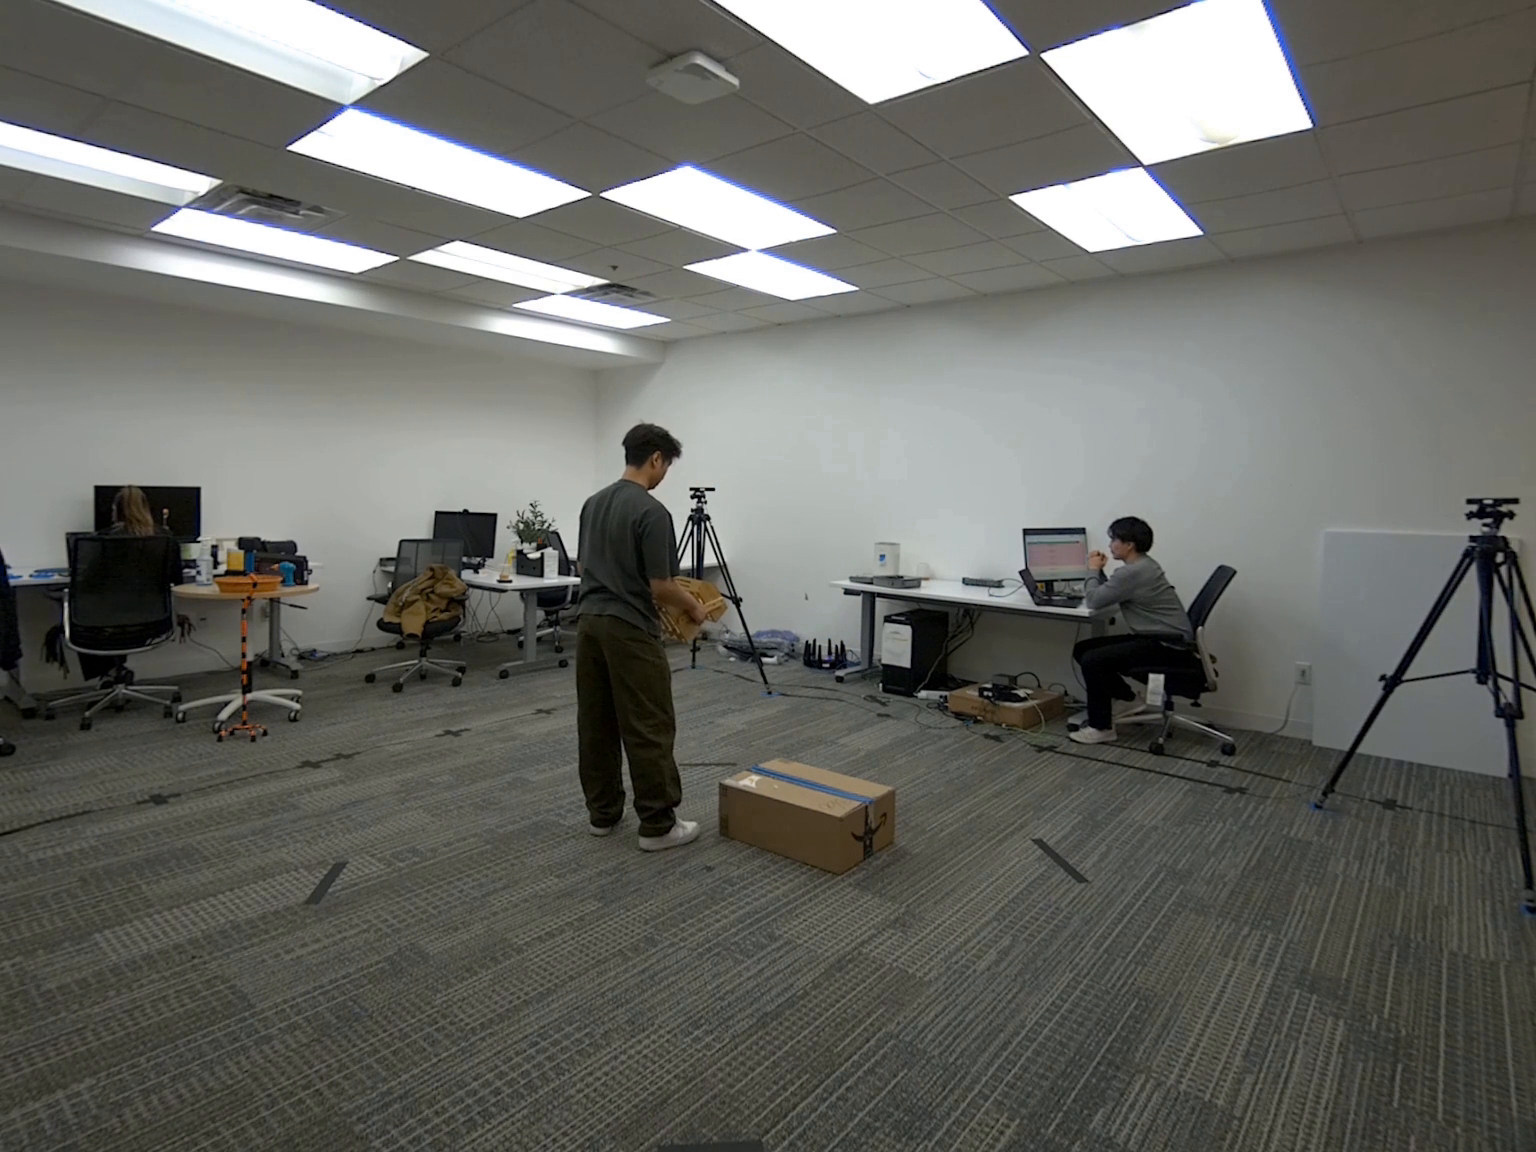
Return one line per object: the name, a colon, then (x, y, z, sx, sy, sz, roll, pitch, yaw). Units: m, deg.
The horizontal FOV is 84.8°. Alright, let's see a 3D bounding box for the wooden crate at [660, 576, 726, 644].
wooden crate: (-0.412, 0.092, 3.603, 0.336, 0.290, 0.274, 13, 52, 39)
